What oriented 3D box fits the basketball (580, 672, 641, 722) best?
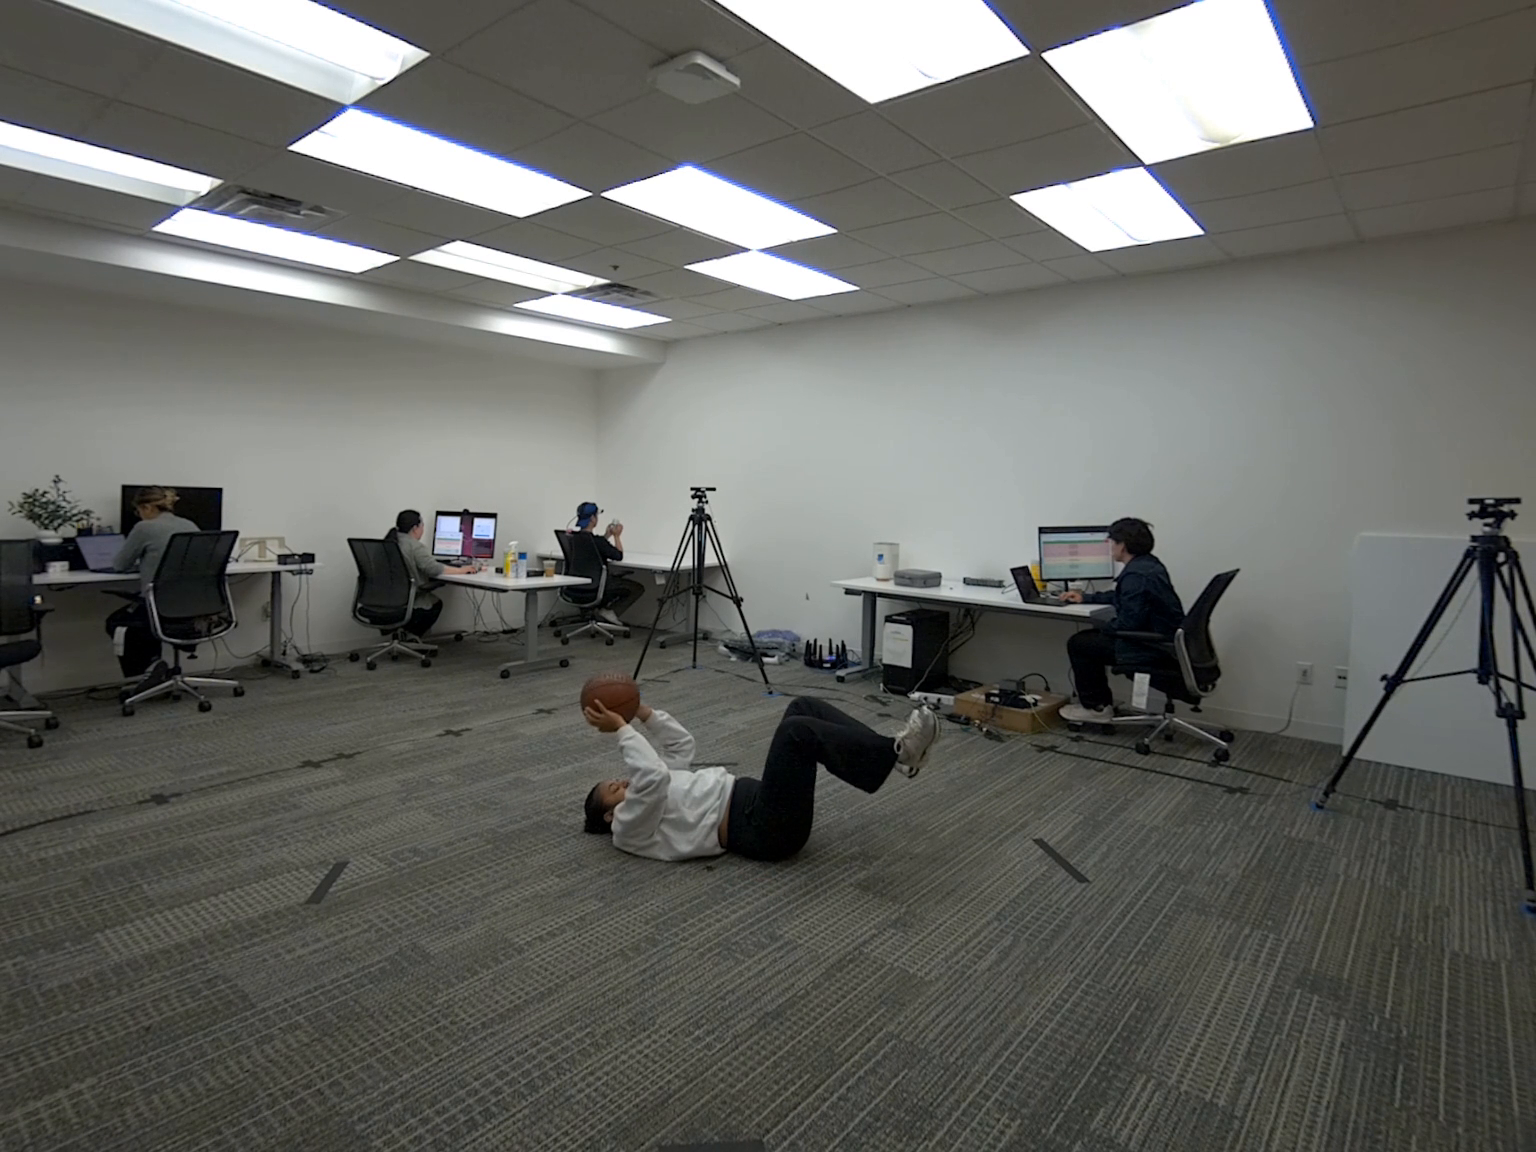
[{"bbox_3d":[-0.641,0.496,3.405,0.236,0.234,0.238,-2,8,-2],"label":"basketball"}]
